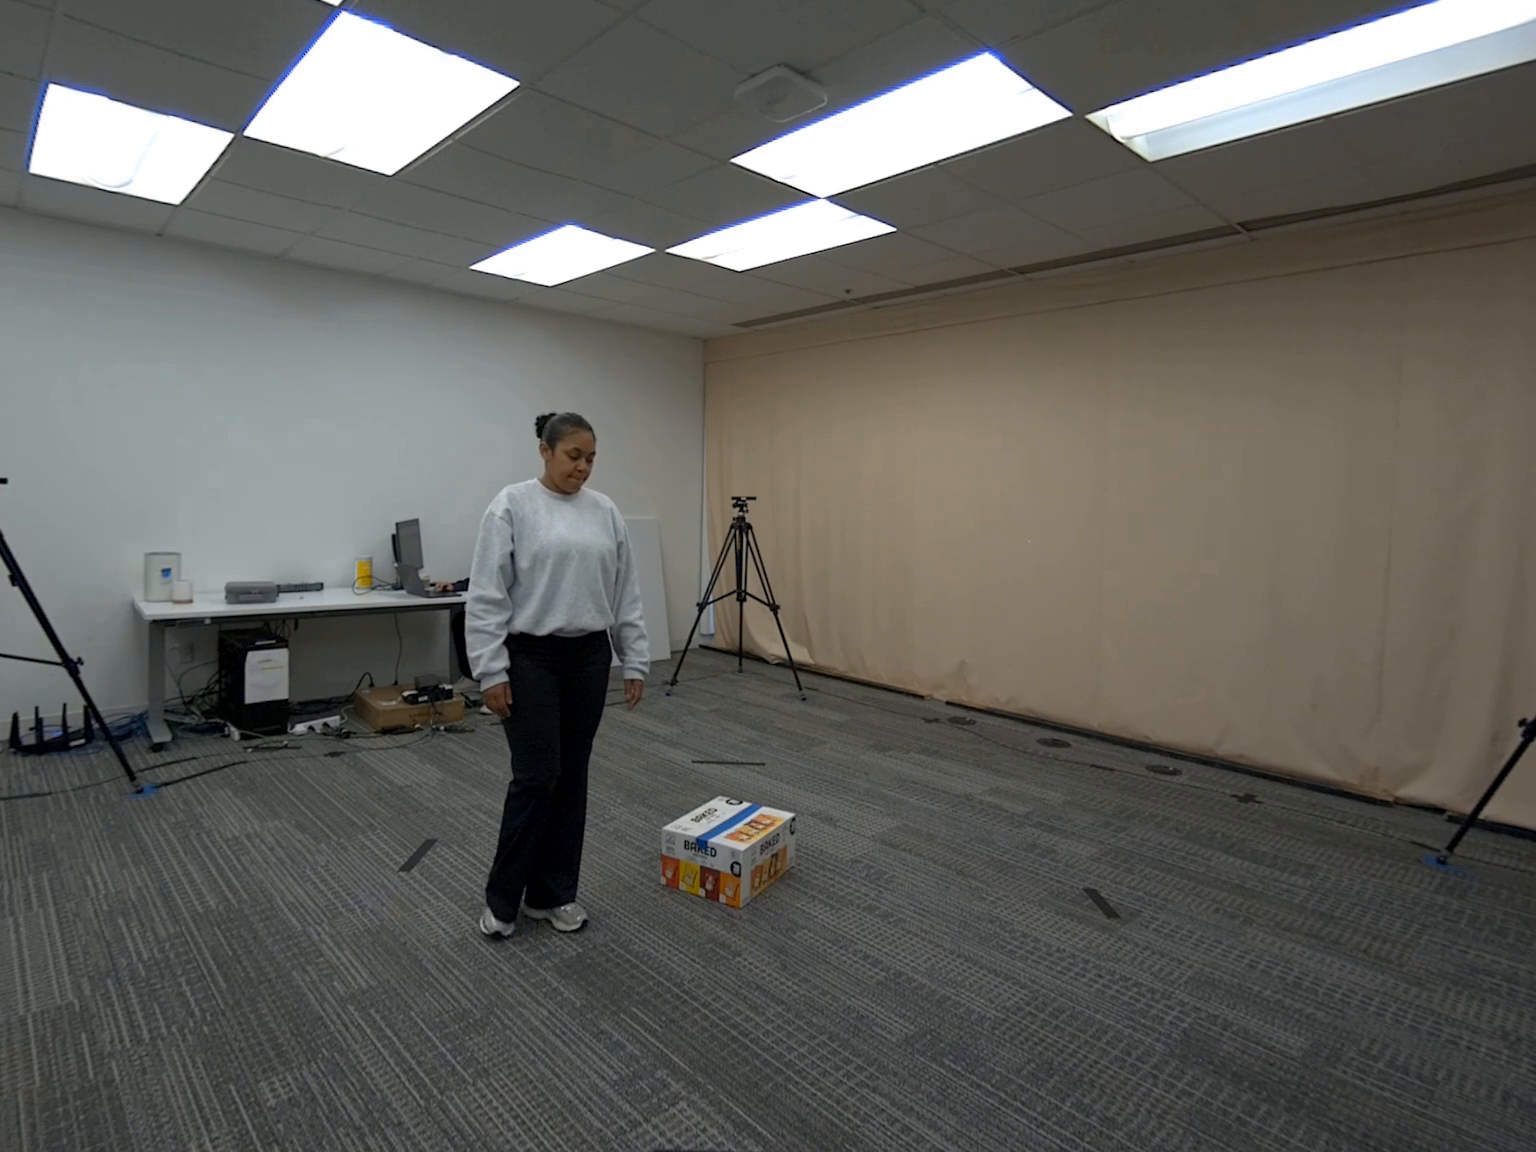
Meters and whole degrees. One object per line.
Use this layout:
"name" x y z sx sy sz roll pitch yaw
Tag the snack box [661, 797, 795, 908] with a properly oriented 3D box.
"snack box" -0.147 1.005 3.102 0.348 0.205 0.397 4 6 30
